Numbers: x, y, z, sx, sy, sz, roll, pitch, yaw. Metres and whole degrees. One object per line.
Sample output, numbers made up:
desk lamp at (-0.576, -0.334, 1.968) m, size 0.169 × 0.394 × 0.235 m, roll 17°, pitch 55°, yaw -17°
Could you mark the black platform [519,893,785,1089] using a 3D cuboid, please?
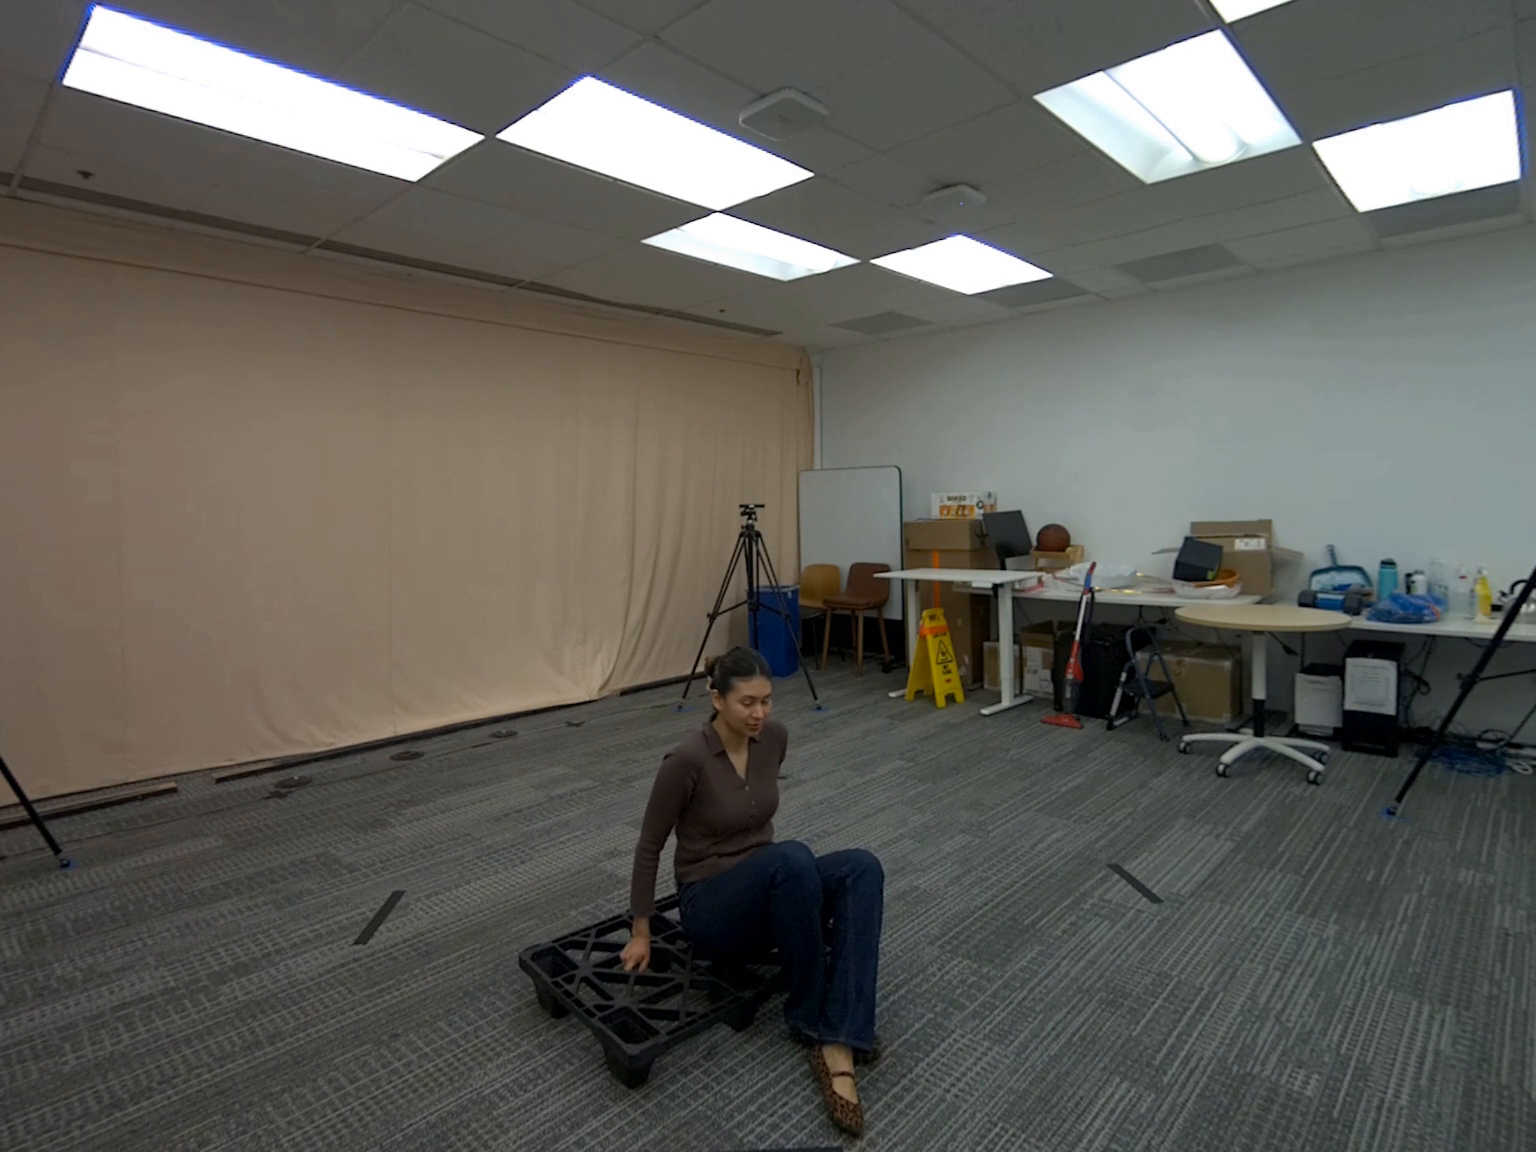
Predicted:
black platform at (-0.222, 1.130, 2.417) m, size 0.781 × 0.143 × 0.625 m, roll -4°, pitch 6°, yaw -40°
